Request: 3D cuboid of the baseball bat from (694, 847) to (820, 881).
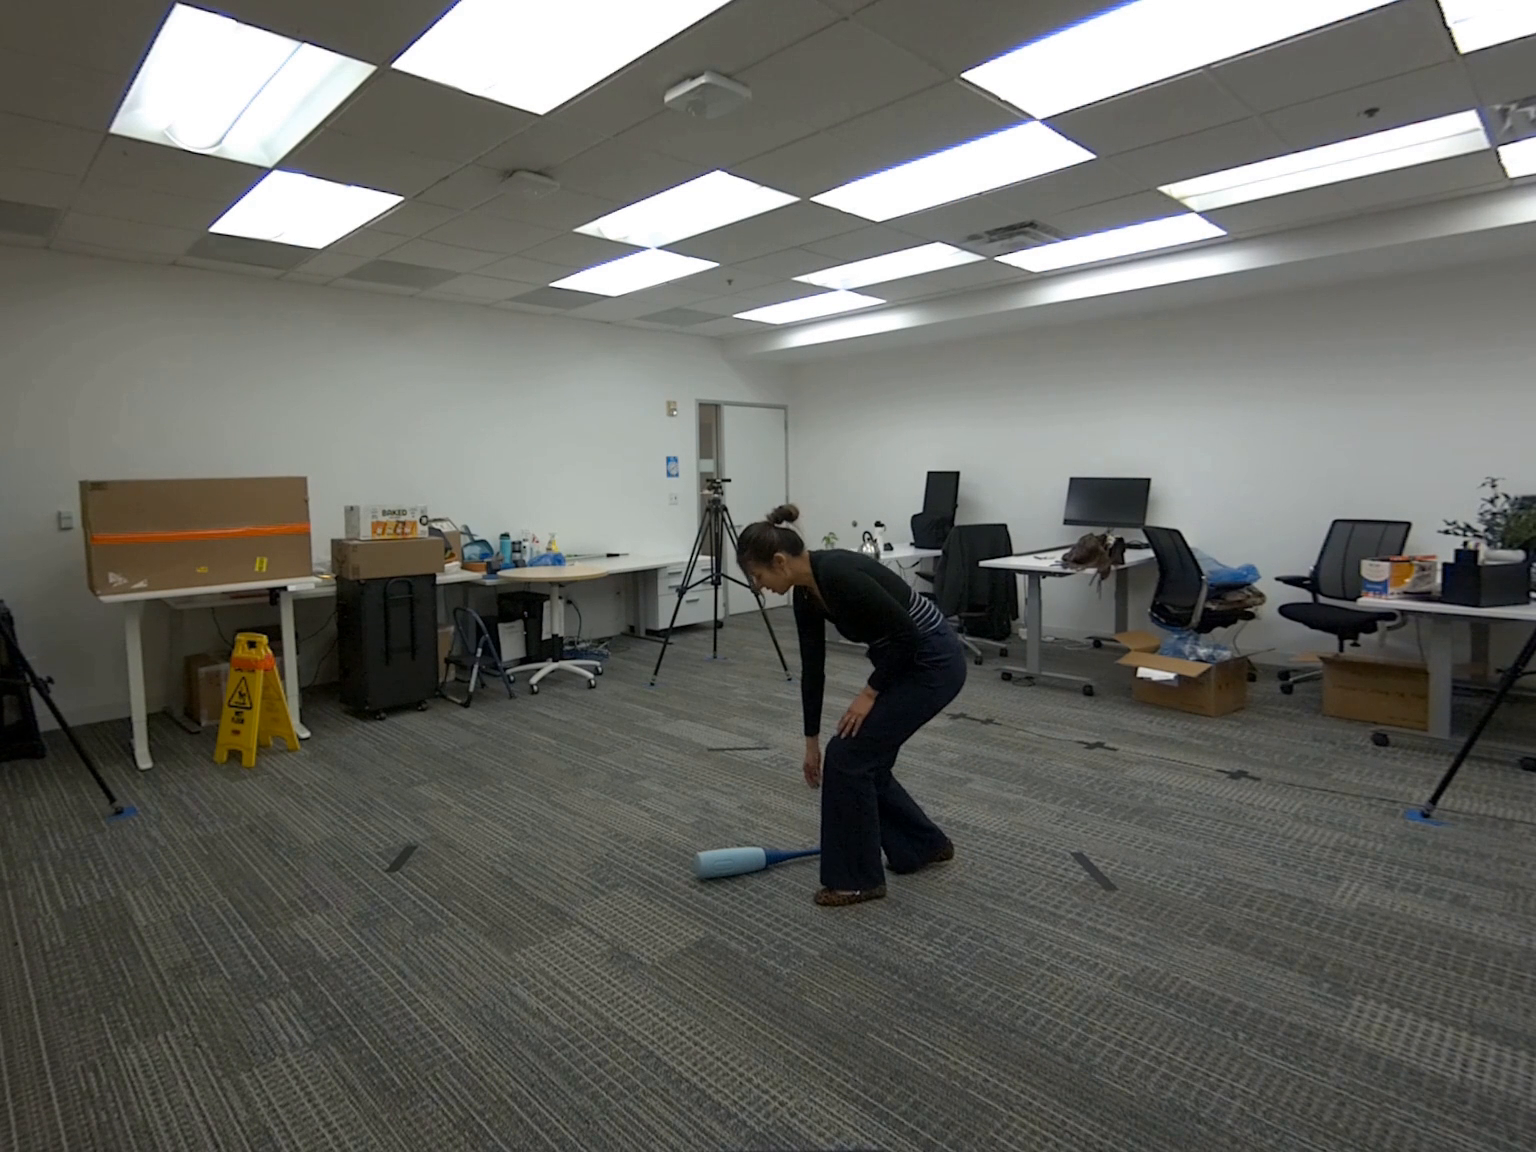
[{"bbox_3d":[-0.001,1.013,3.070,0.532,0.089,0.091,1,4,-21],"label":"baseball bat"}]
